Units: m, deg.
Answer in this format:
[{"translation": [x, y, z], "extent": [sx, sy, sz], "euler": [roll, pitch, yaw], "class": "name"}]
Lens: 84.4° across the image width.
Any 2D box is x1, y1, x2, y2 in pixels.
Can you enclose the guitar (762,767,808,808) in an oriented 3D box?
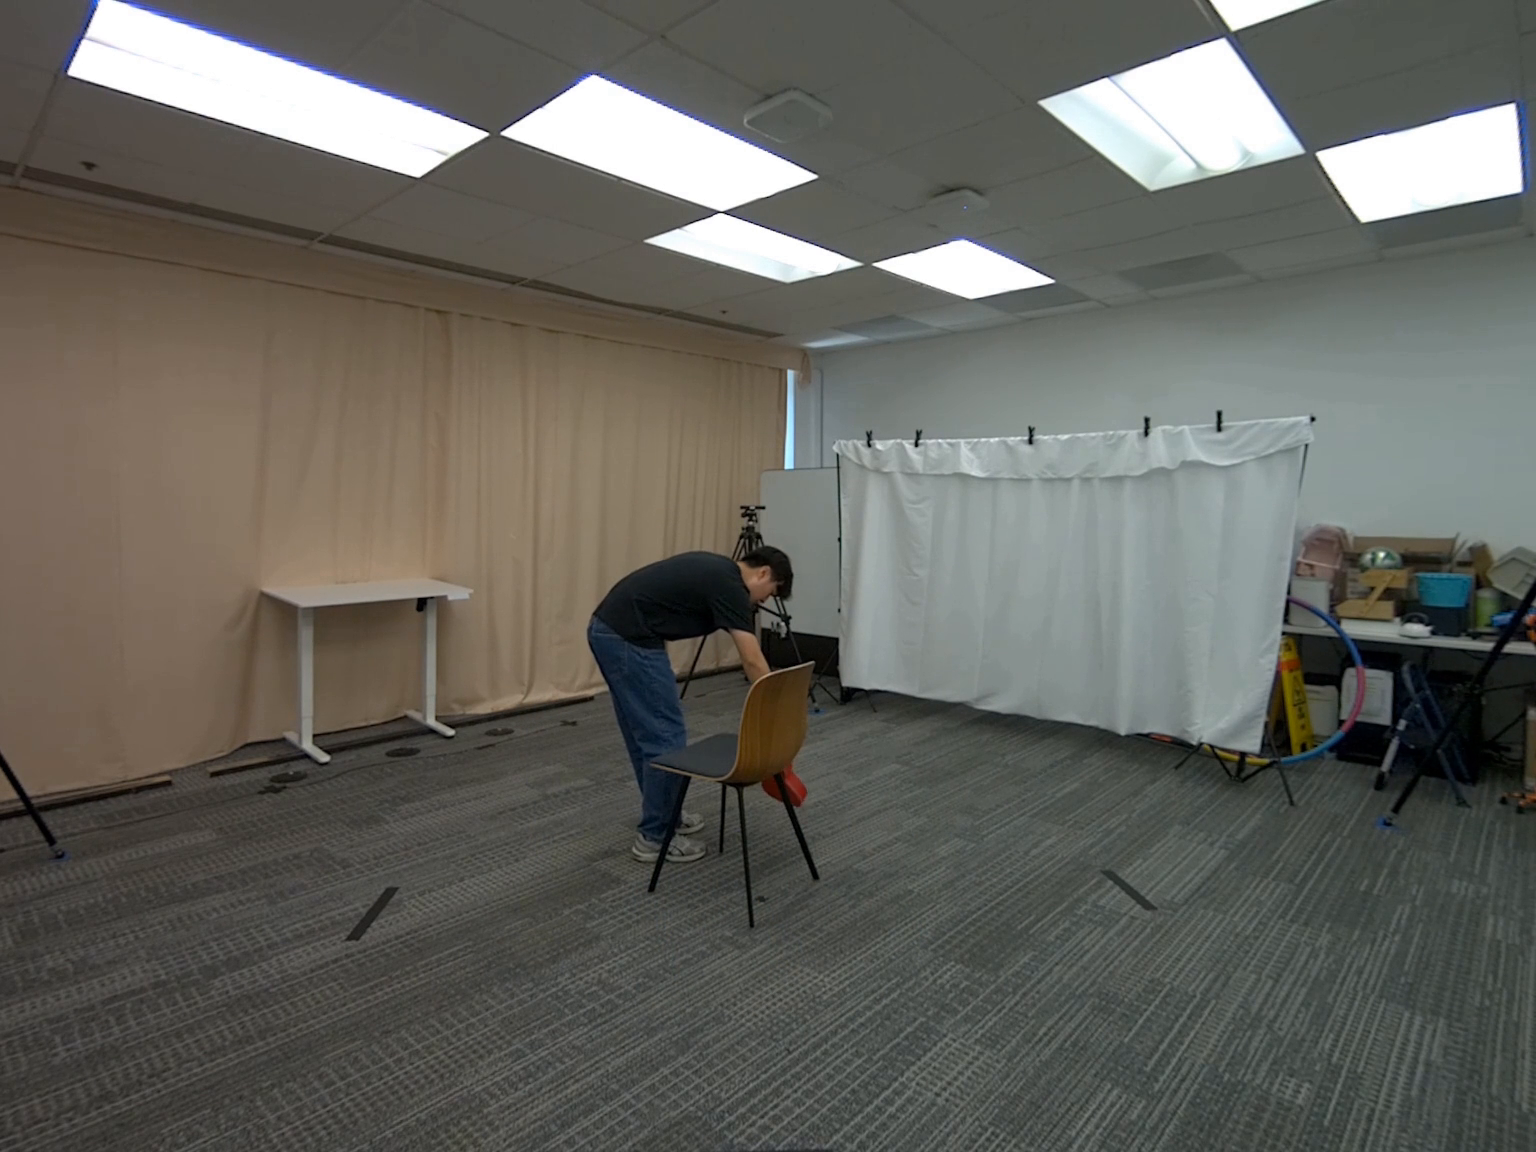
[{"translation": [-0.001, 0.721, 3.400], "extent": [0.199, 0.487, 0.070], "euler": [-1, 33, 45], "class": "guitar"}]
